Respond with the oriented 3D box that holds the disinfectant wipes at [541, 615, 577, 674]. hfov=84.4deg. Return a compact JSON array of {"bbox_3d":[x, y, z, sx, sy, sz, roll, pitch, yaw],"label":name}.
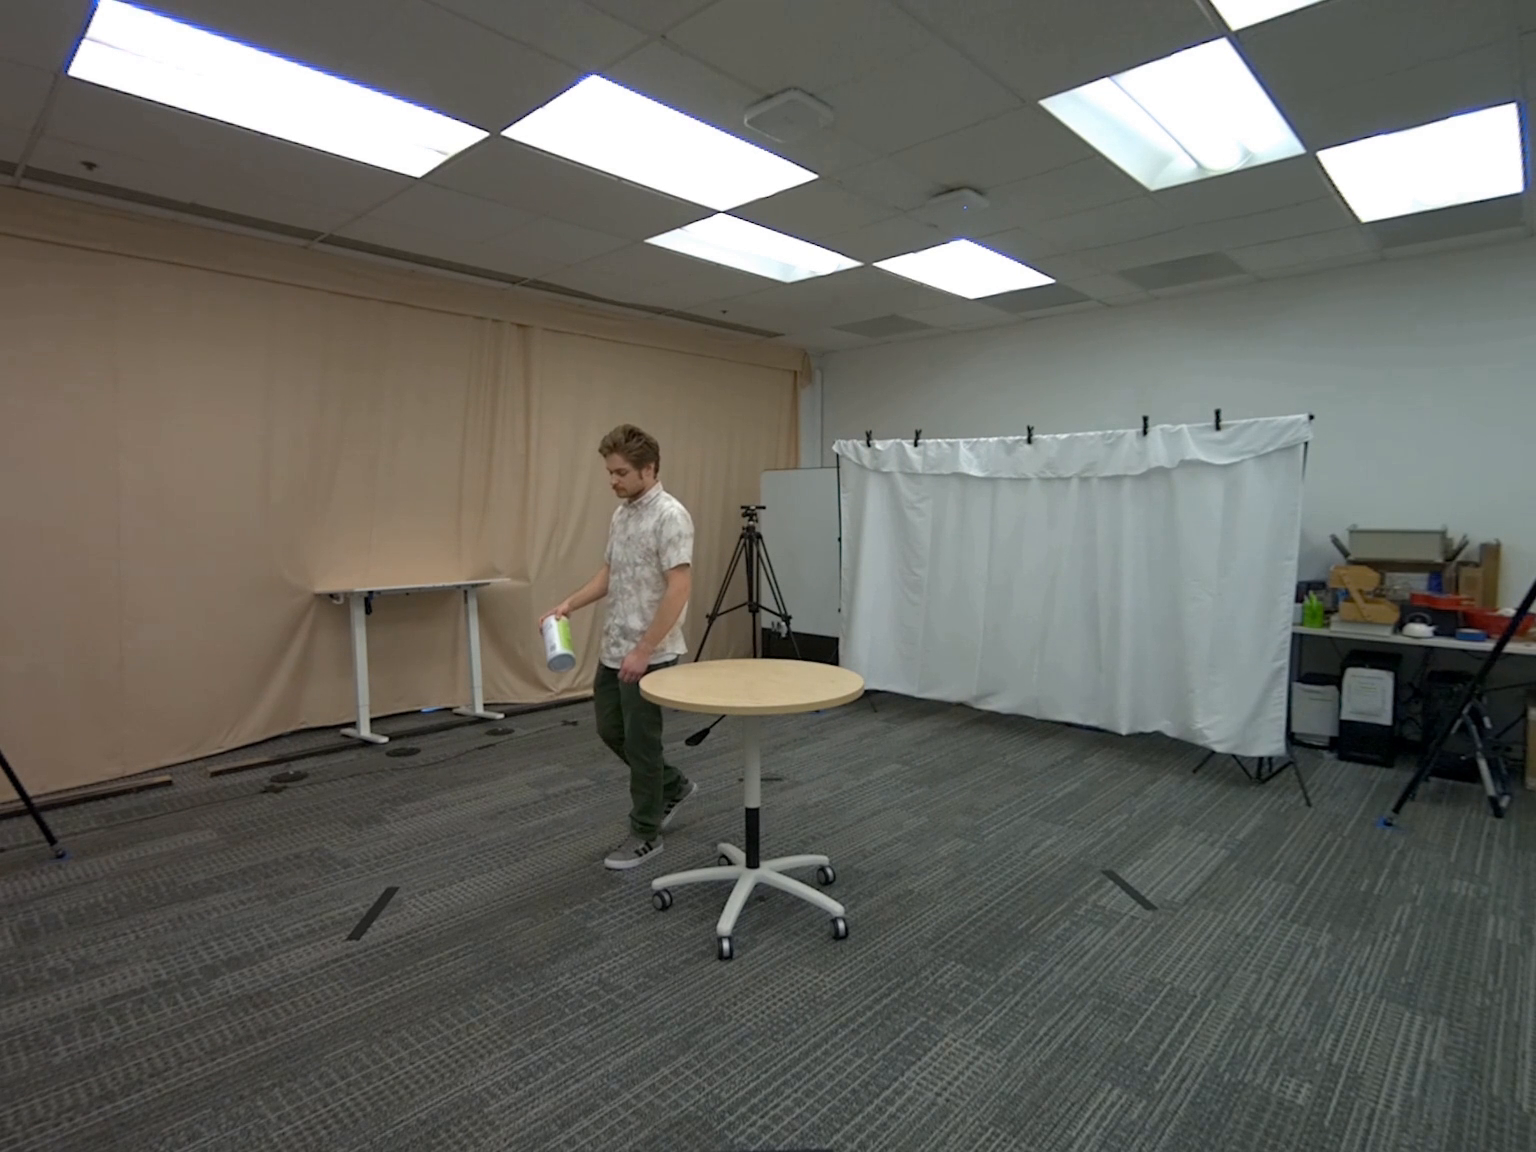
[{"bbox_3d":[-0.805,0.260,3.241,0.115,0.117,0.224,-2,41,-22],"label":"disinfectant wipes"}]
